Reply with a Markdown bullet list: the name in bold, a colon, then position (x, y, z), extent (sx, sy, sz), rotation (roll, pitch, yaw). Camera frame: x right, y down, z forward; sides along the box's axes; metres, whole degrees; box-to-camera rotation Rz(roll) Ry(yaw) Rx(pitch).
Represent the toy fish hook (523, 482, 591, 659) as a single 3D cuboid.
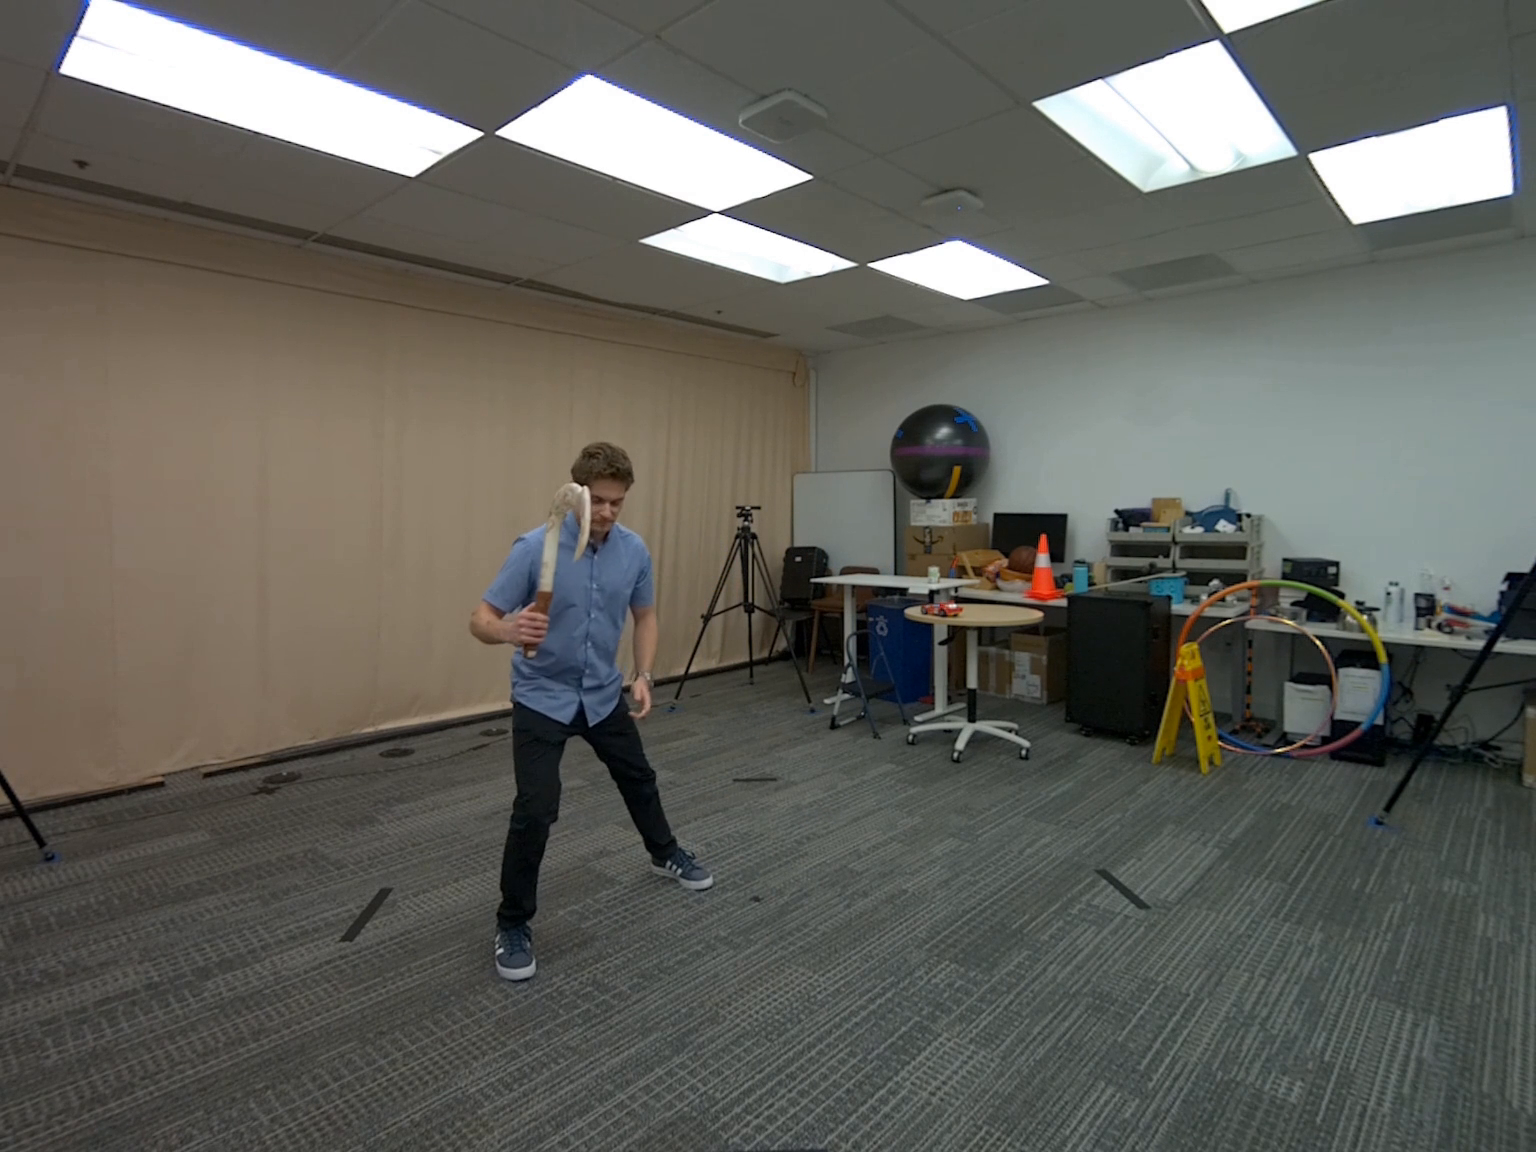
- **toy fish hook**: position (-0.566, -0.001, 2.289), extent (0.047, 0.505, 0.232), rotation (10, 6, -36)
